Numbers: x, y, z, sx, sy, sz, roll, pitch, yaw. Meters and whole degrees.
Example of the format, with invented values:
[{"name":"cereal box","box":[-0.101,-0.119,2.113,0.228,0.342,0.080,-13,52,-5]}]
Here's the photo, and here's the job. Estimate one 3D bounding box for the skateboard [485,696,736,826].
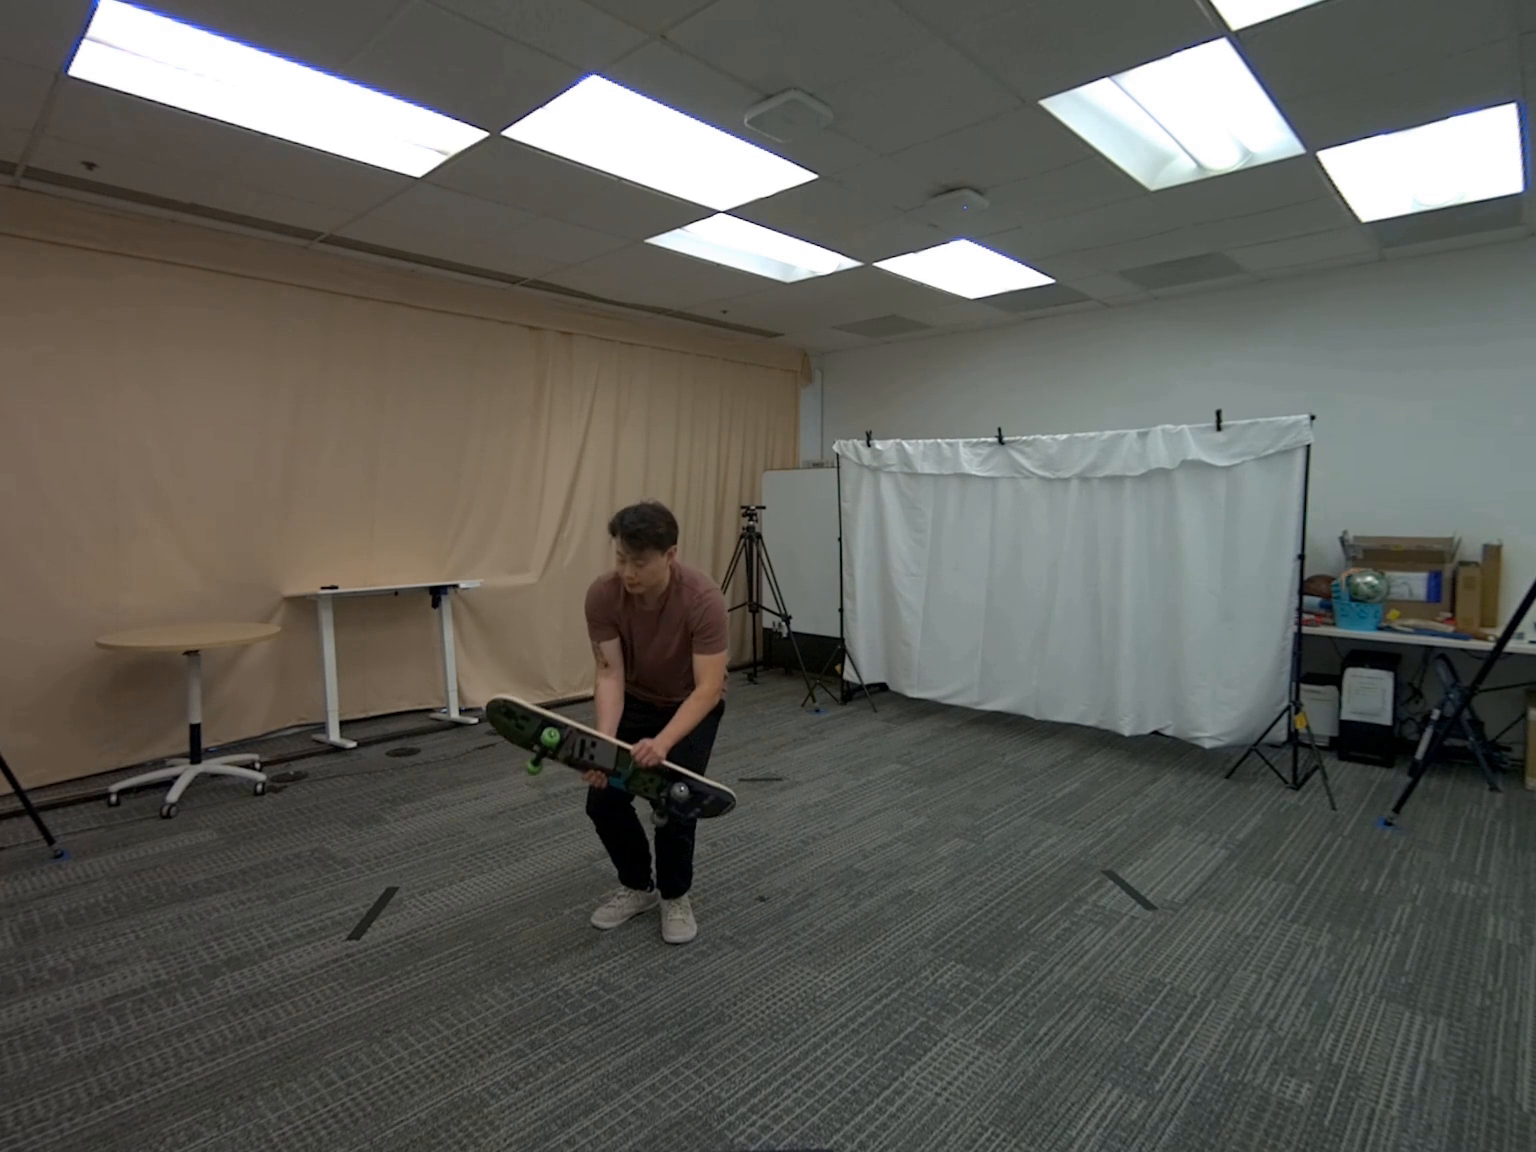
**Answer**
[{"name":"skateboard","box":[-0.450,0.560,2.423,0.776,0.194,0.111,25,37,-9]}]
